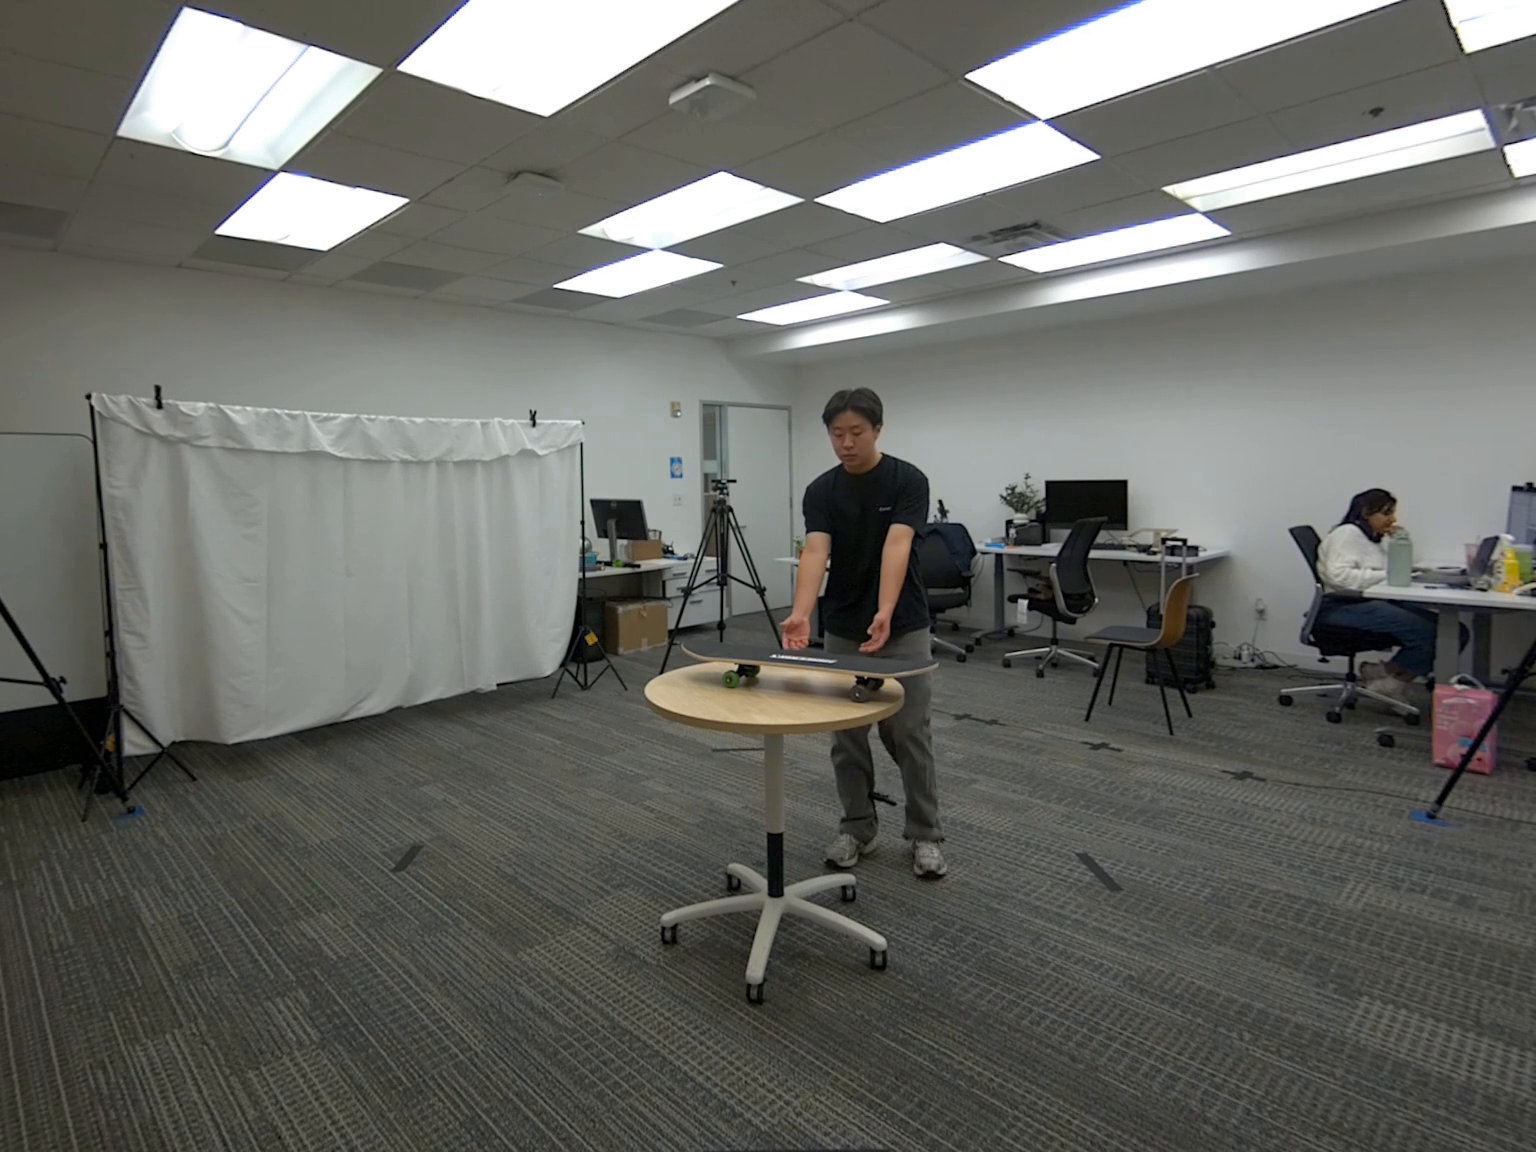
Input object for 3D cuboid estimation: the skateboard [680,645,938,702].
[{"bbox_3d":[0.112,0.285,2.515,0.804,0.109,0.190,2,9,27],"label":"skateboard"}]
